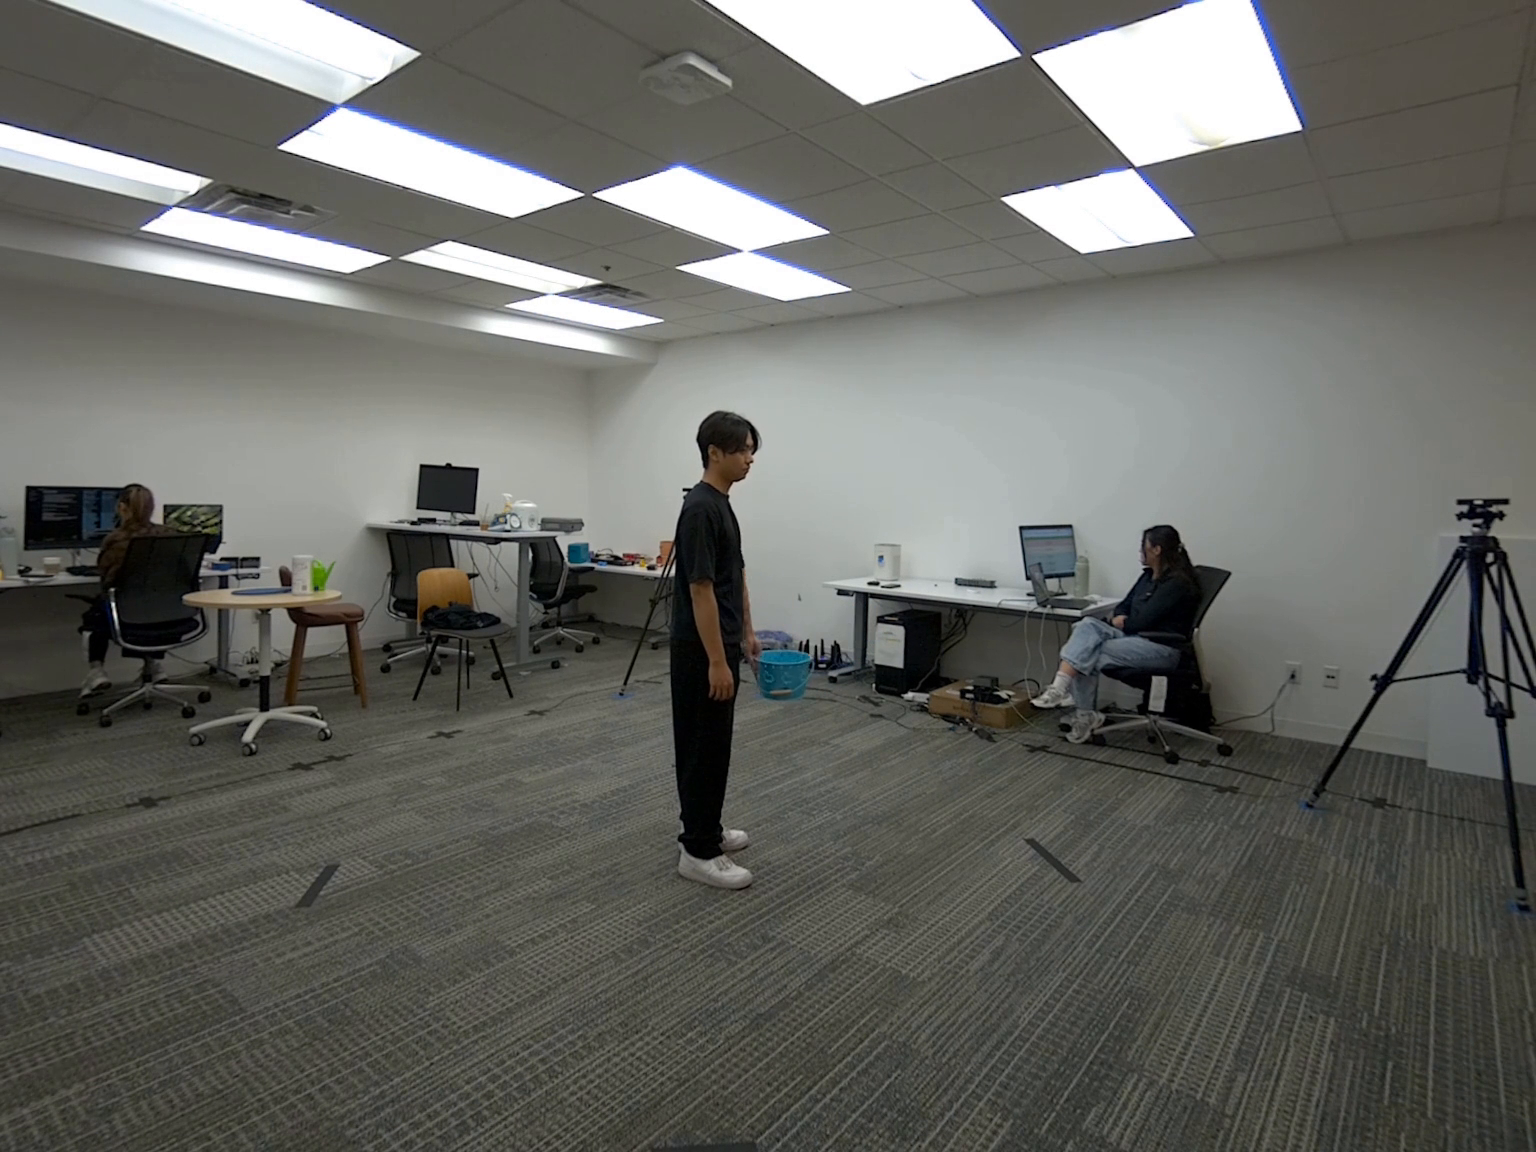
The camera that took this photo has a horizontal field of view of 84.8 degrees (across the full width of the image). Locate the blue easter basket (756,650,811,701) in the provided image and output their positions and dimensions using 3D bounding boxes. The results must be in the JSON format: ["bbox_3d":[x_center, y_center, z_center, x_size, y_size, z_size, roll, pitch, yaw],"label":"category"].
[{"bbox_3d":[0.038,0.387,3.367,0.243,0.155,0.245,0,6,-2],"label":"blue easter basket"}]
